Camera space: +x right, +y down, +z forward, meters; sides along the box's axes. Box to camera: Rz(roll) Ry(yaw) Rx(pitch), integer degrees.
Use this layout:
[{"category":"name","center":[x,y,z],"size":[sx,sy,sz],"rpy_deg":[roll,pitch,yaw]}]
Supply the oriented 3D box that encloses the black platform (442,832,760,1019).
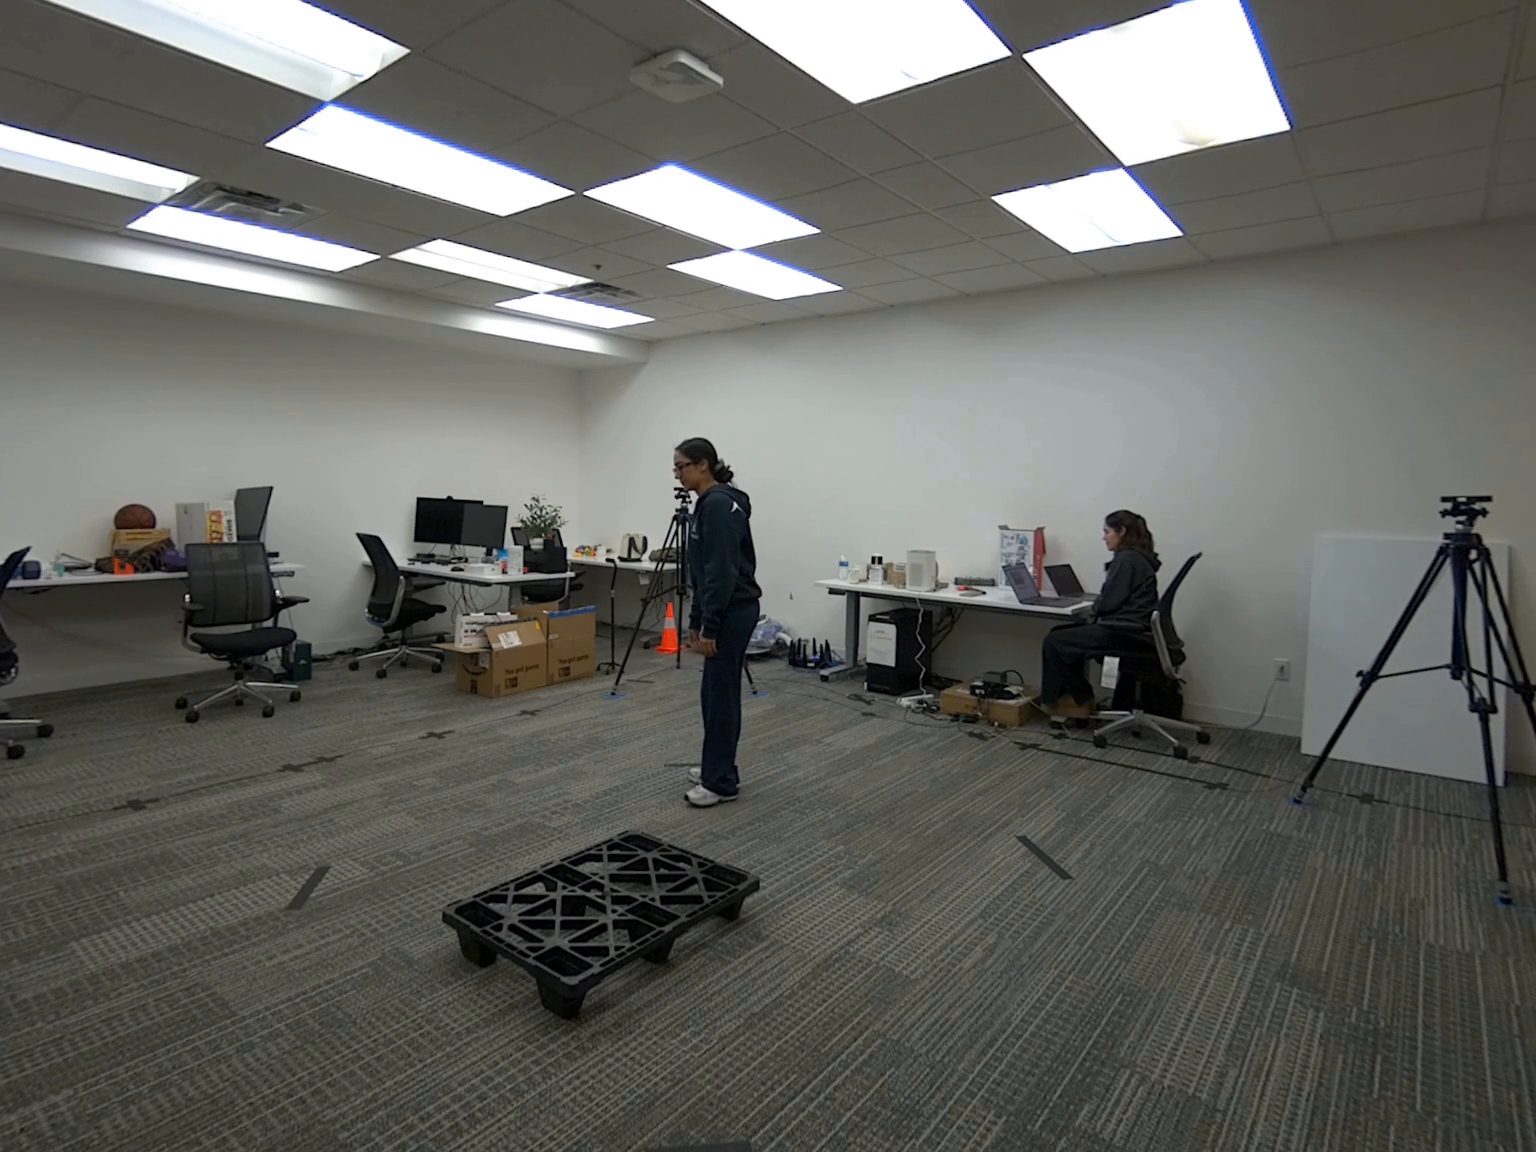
[{"category":"black platform","center":[-0.500,1.042,2.638],"size":[0.625,0.142,0.783],"rpy_deg":[6,8,38]}]
